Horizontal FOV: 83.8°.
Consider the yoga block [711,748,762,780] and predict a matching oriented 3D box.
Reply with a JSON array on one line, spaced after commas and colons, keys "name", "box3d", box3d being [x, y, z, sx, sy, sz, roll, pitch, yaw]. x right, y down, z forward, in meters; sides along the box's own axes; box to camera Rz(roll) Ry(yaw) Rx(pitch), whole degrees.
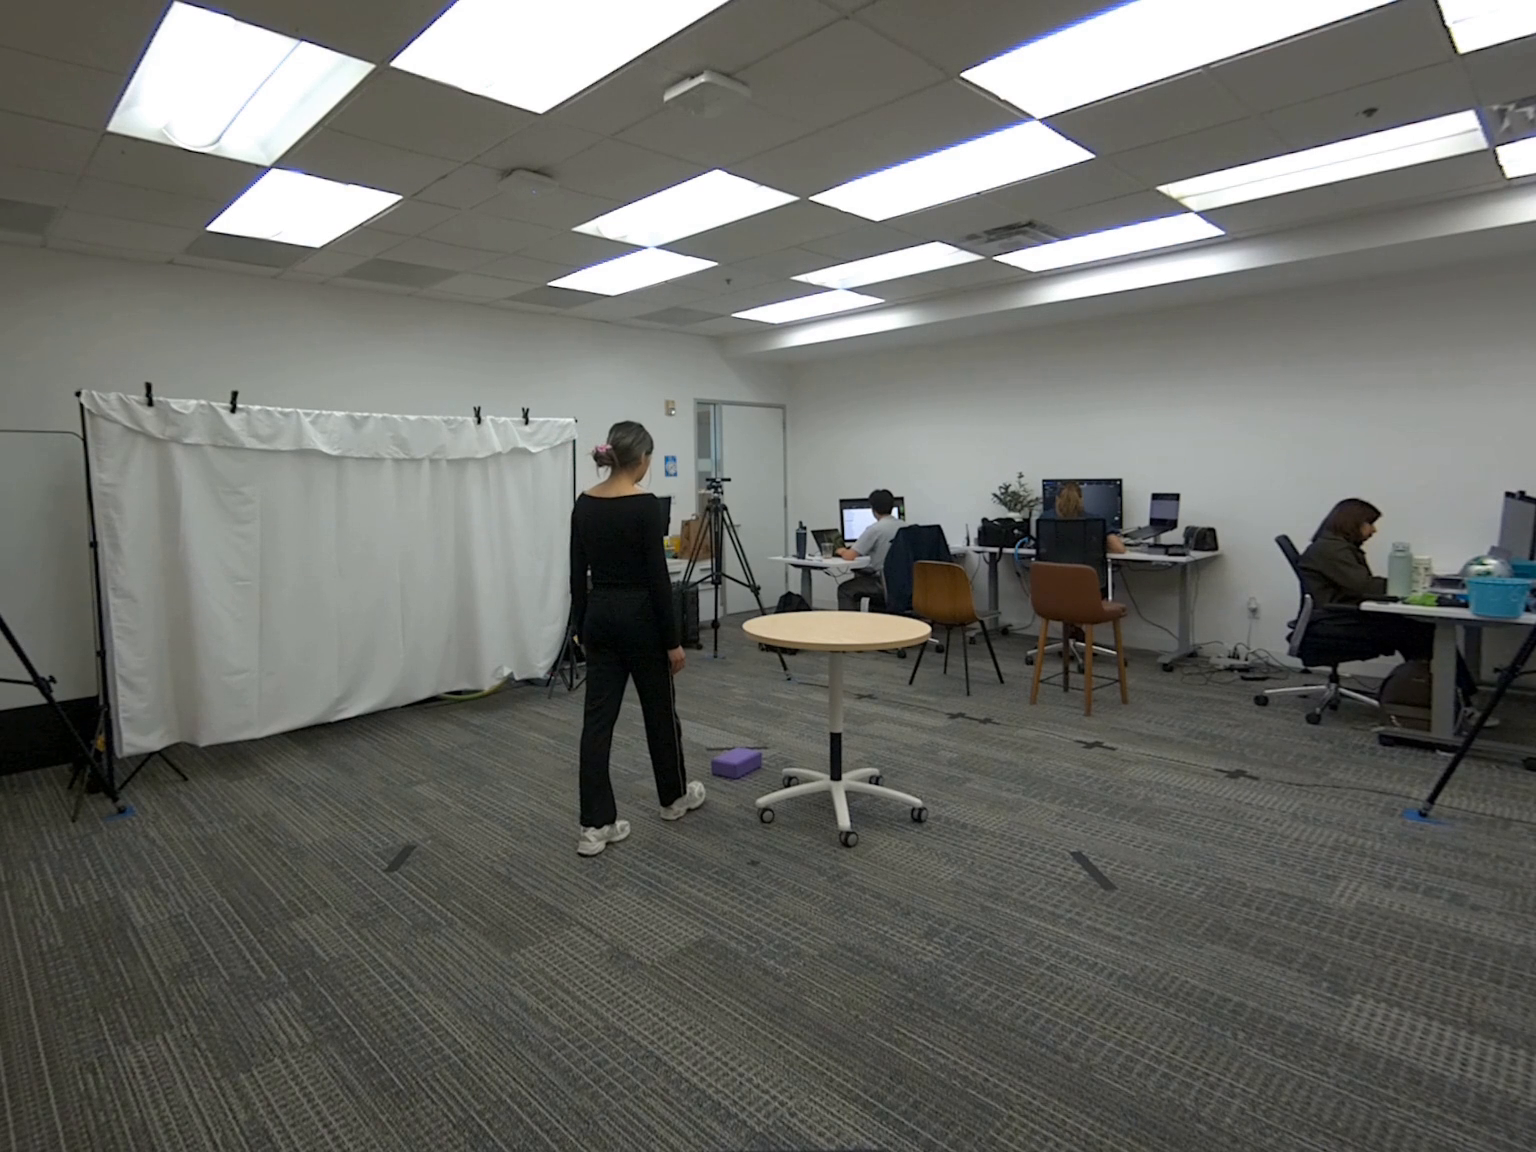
[{"name": "yoga block", "box3d": [-0.148, 0.894, 4.100, 0.153, 0.076, 0.224, 2, 6, 35]}]
